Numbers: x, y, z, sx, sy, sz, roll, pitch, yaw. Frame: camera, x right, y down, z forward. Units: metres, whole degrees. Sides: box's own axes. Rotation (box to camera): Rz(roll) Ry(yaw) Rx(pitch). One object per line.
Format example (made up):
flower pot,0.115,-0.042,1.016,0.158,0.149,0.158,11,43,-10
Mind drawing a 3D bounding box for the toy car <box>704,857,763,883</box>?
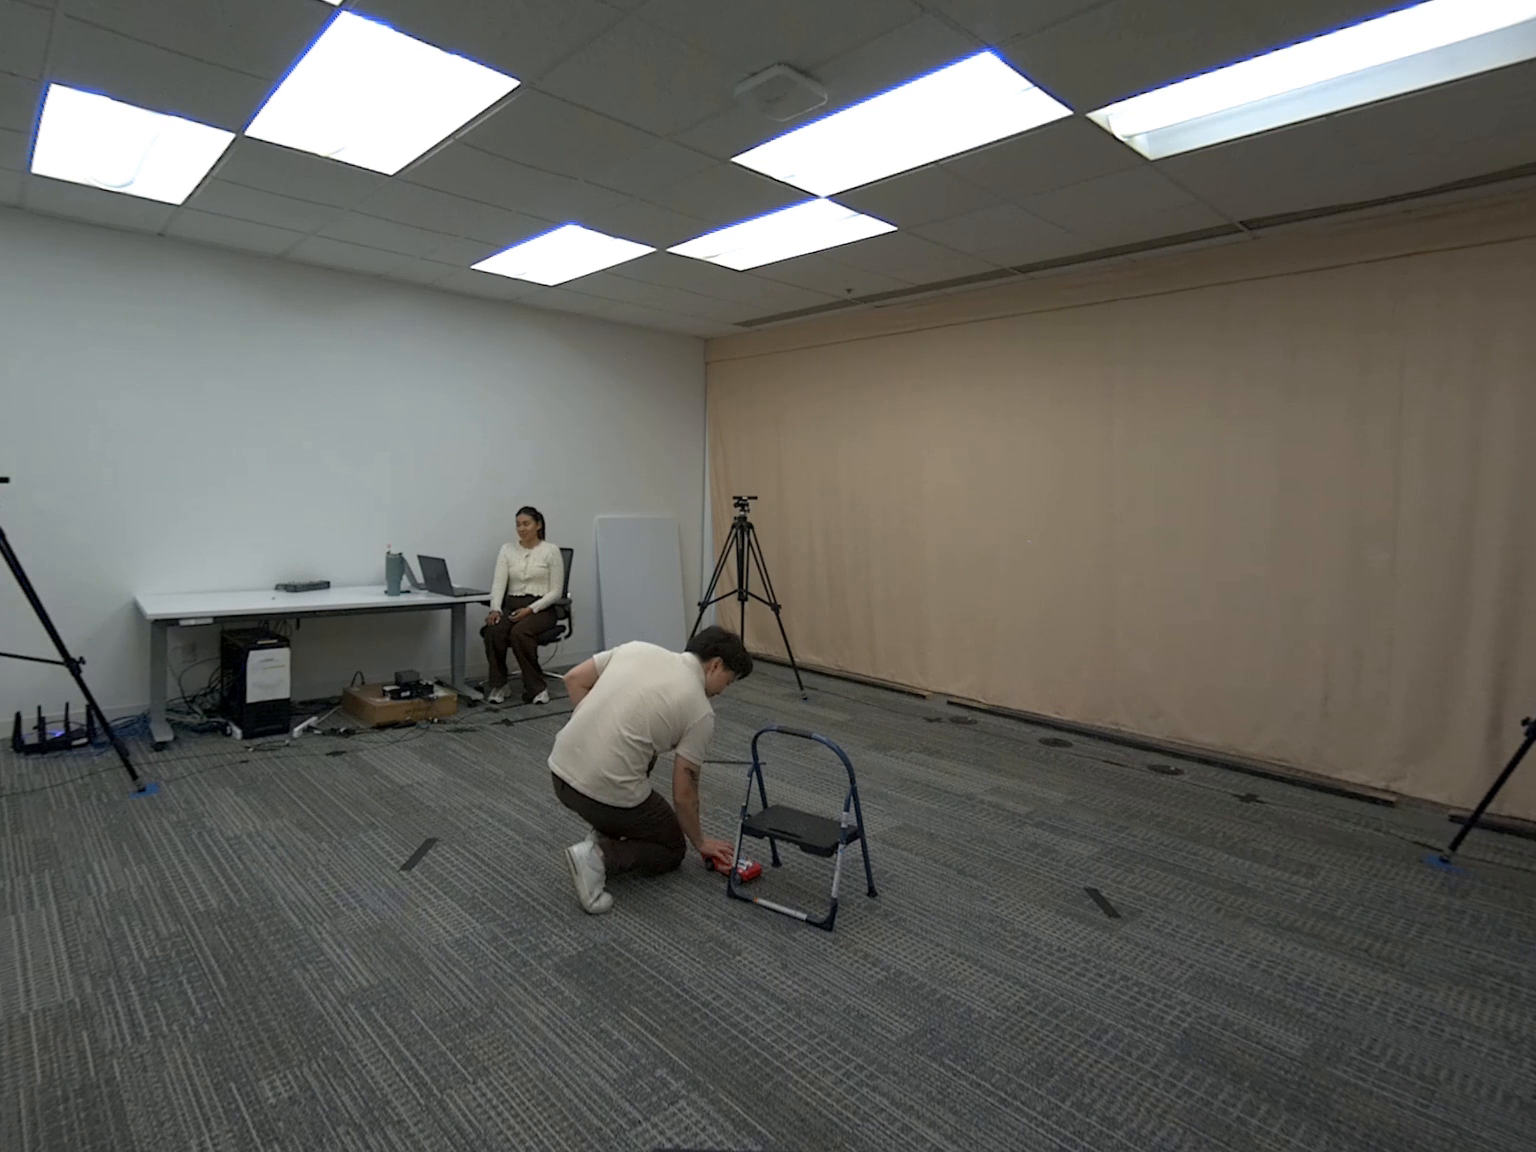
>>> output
toy car,-0.152,1.067,3.133,0.262,0.082,0.127,19,16,41
